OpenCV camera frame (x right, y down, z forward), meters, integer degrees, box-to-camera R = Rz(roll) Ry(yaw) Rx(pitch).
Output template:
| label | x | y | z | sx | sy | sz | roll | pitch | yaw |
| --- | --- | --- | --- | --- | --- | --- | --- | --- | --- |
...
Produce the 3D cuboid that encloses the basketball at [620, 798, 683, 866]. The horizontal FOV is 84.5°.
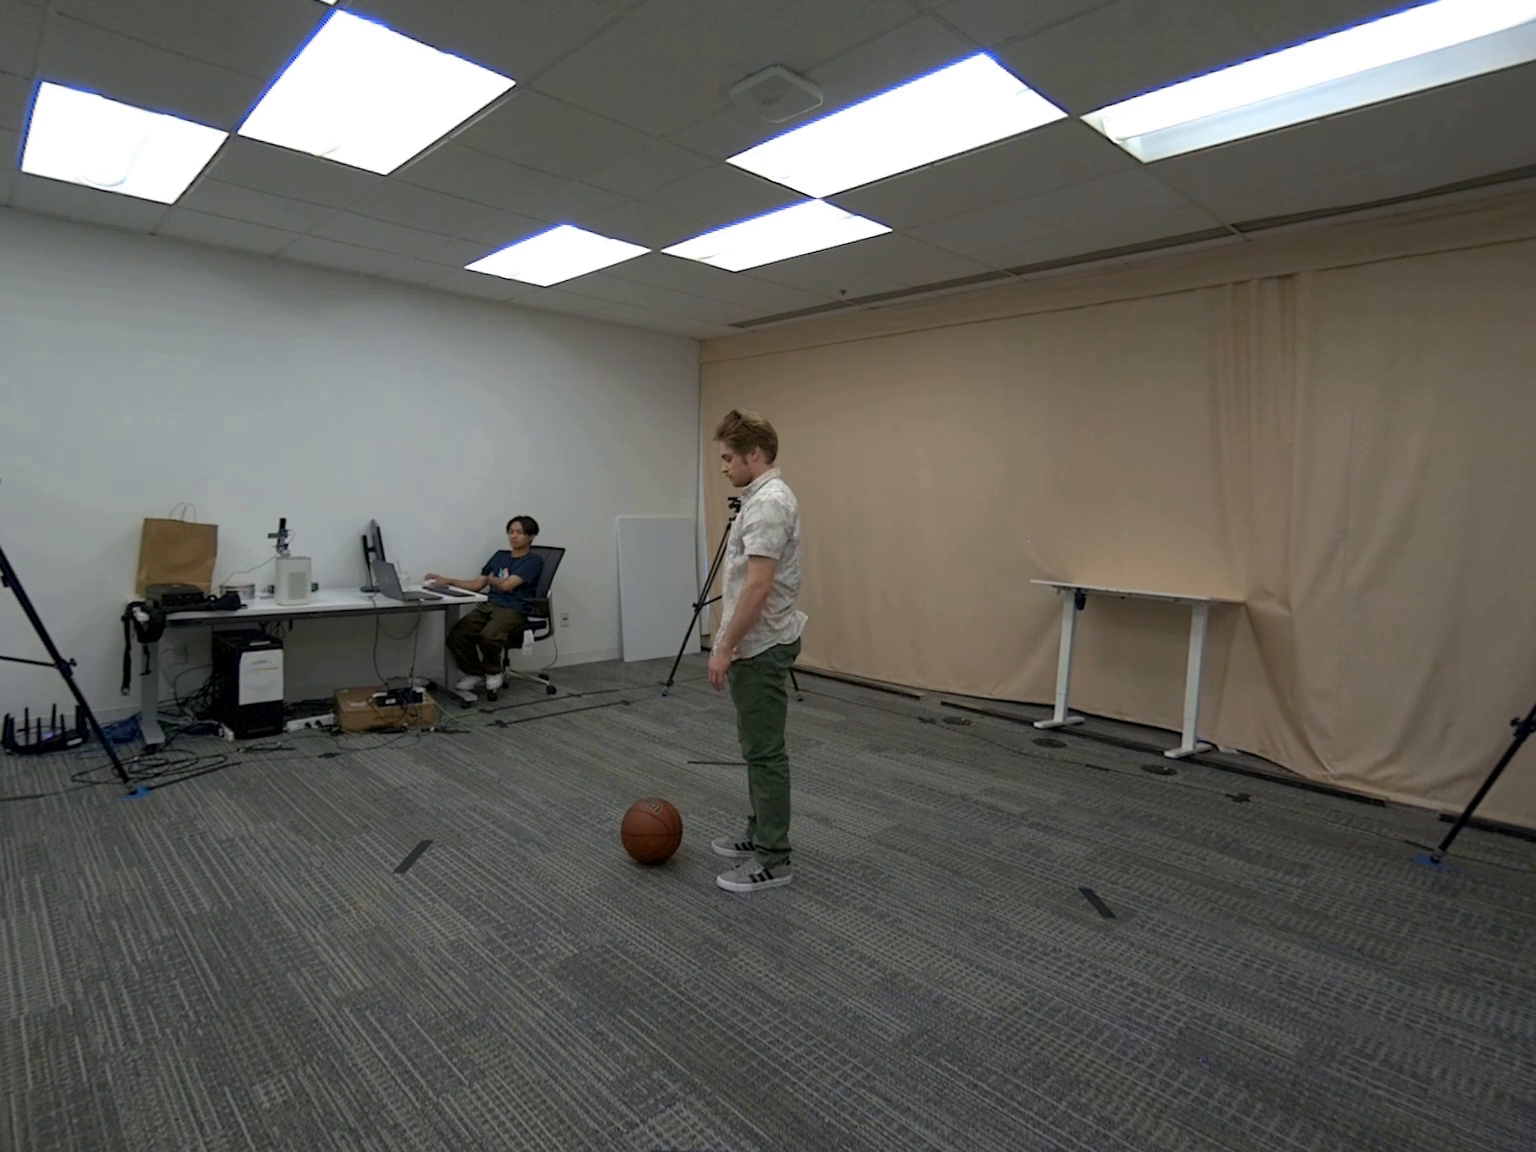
| label | x | y | z | sx | sy | sz | roll | pitch | yaw |
| --- | --- | --- | --- | --- | --- | --- | --- | --- | --- |
| basketball | -0.445 | 0.966 | 3.212 | 0.236 | 0.235 | 0.237 | 1 | 4 | -1 |
